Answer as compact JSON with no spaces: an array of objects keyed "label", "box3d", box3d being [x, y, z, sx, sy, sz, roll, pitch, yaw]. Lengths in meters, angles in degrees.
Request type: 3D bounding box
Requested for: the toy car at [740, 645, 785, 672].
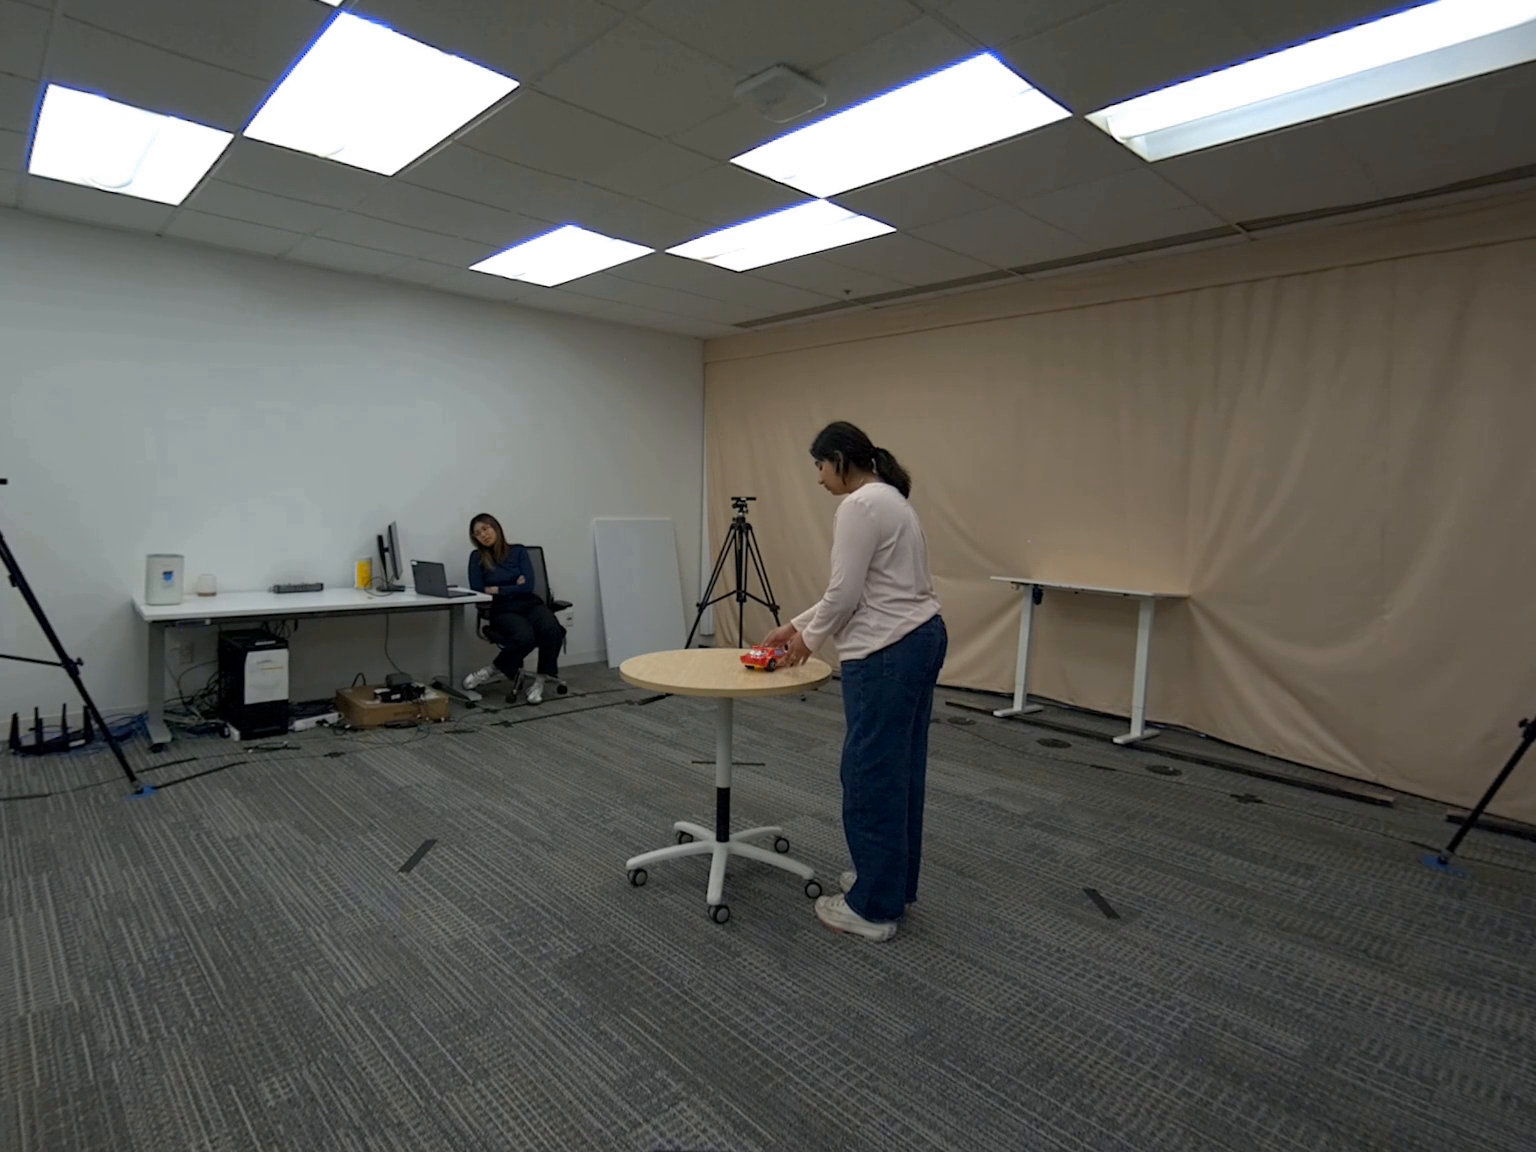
[{"label":"toy car","box3d":[-0.008,0.301,3.025,0.133,0.083,0.247,3,-6,39]}]
